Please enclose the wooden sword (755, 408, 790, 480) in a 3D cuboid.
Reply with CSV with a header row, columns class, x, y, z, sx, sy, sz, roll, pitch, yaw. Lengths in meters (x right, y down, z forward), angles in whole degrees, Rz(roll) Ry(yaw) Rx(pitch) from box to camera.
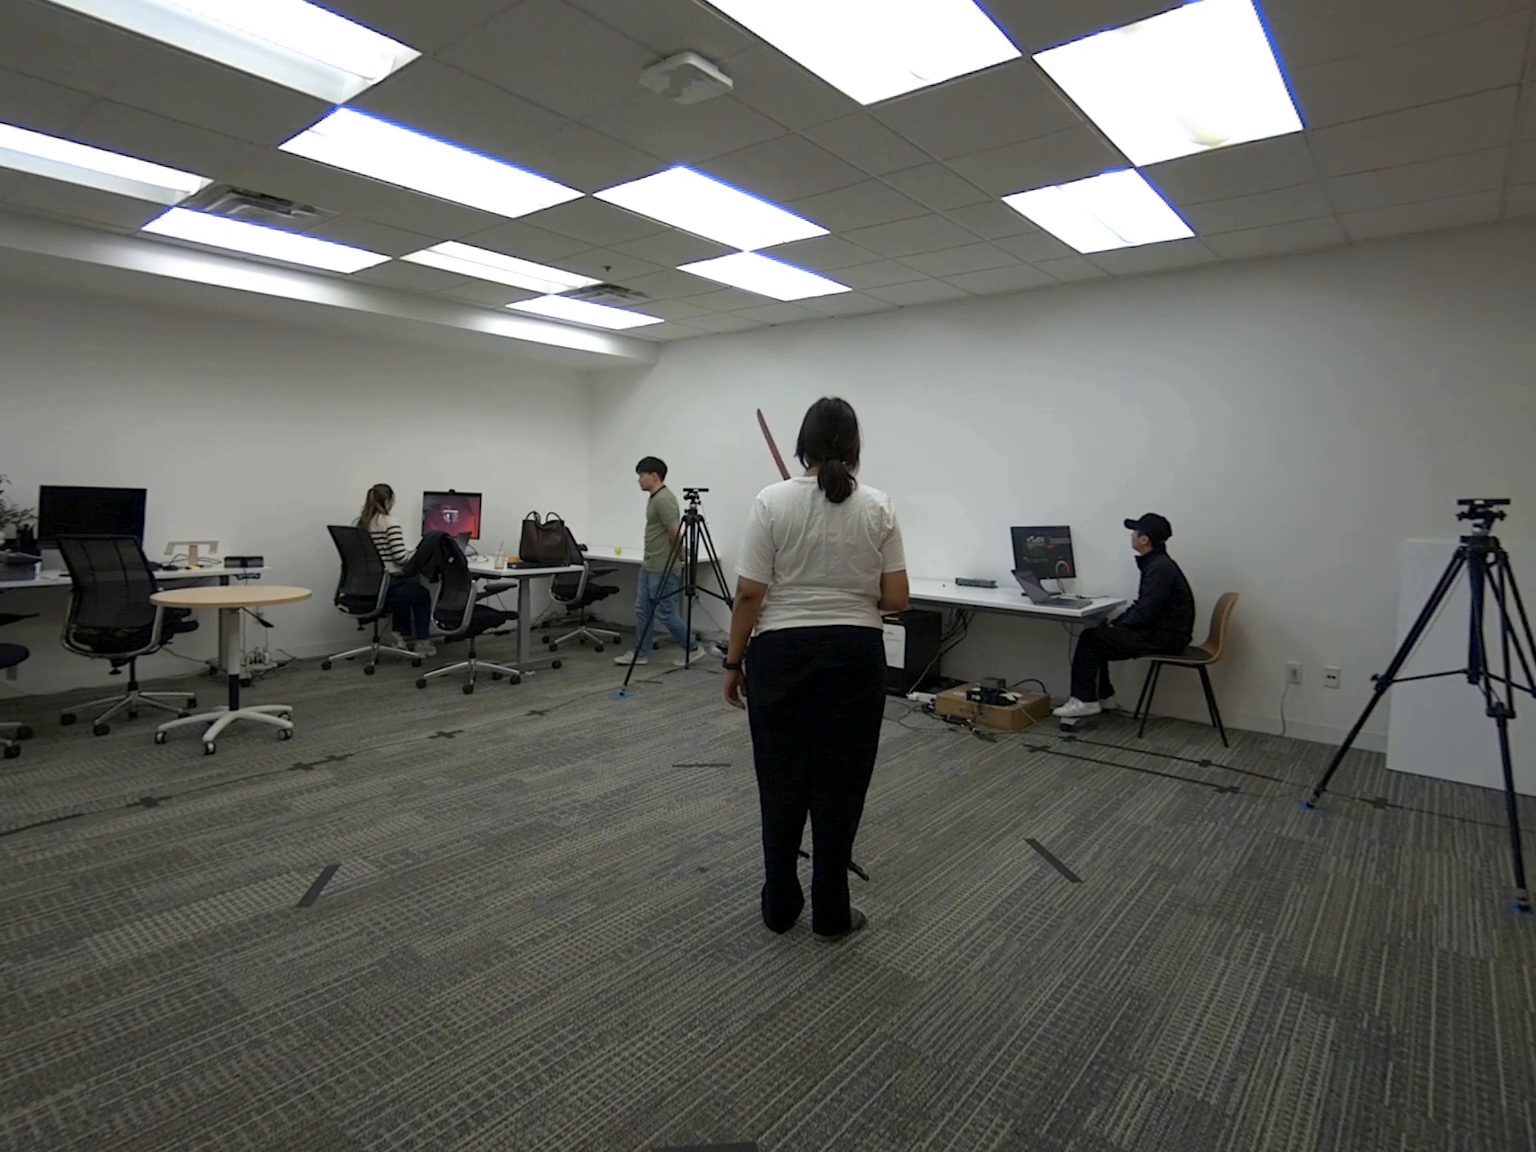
class,x,y,z,sx,sy,sz,roll,pitch,yaw
wooden sword,0.104,-0.309,3.235,0.049,1.064,0.024,20,-54,-42
